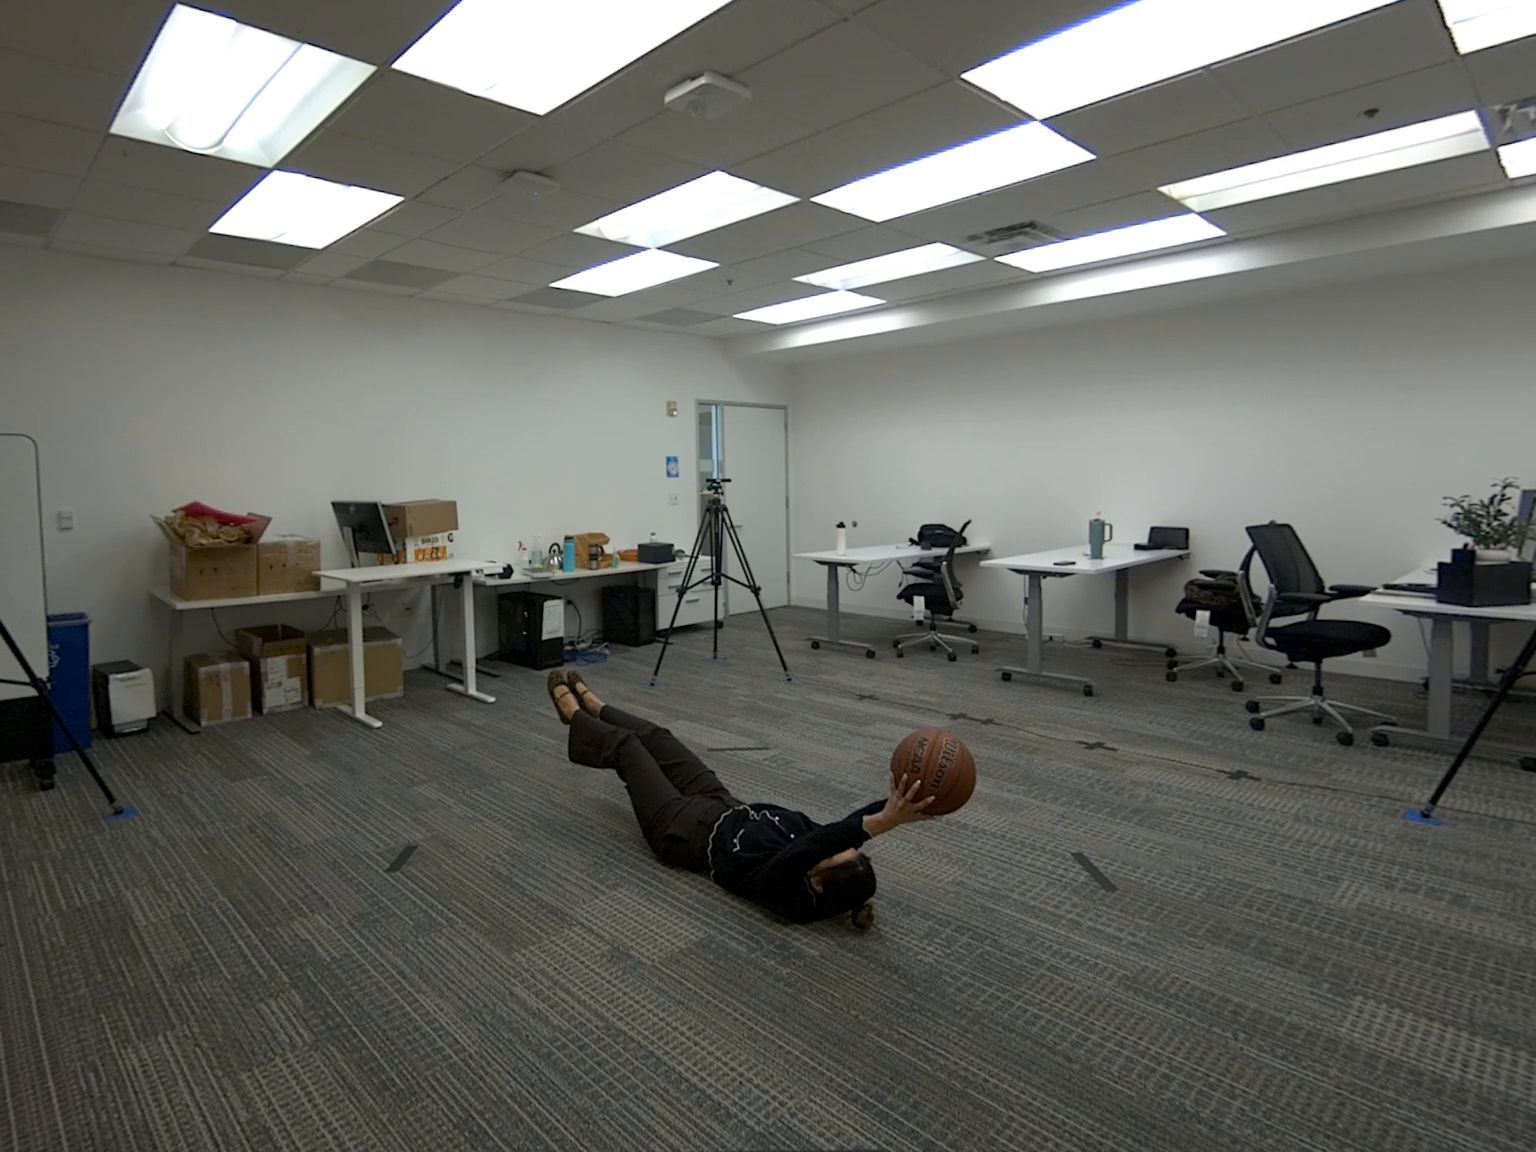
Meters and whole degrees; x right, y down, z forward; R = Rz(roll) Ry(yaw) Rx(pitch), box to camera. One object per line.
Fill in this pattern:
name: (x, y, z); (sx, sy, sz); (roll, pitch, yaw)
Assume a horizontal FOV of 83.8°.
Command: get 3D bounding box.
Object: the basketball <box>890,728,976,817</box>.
basketball: (0.471, 0.554, 2.398); (0.236, 0.235, 0.237); (-1, 5, -2)
